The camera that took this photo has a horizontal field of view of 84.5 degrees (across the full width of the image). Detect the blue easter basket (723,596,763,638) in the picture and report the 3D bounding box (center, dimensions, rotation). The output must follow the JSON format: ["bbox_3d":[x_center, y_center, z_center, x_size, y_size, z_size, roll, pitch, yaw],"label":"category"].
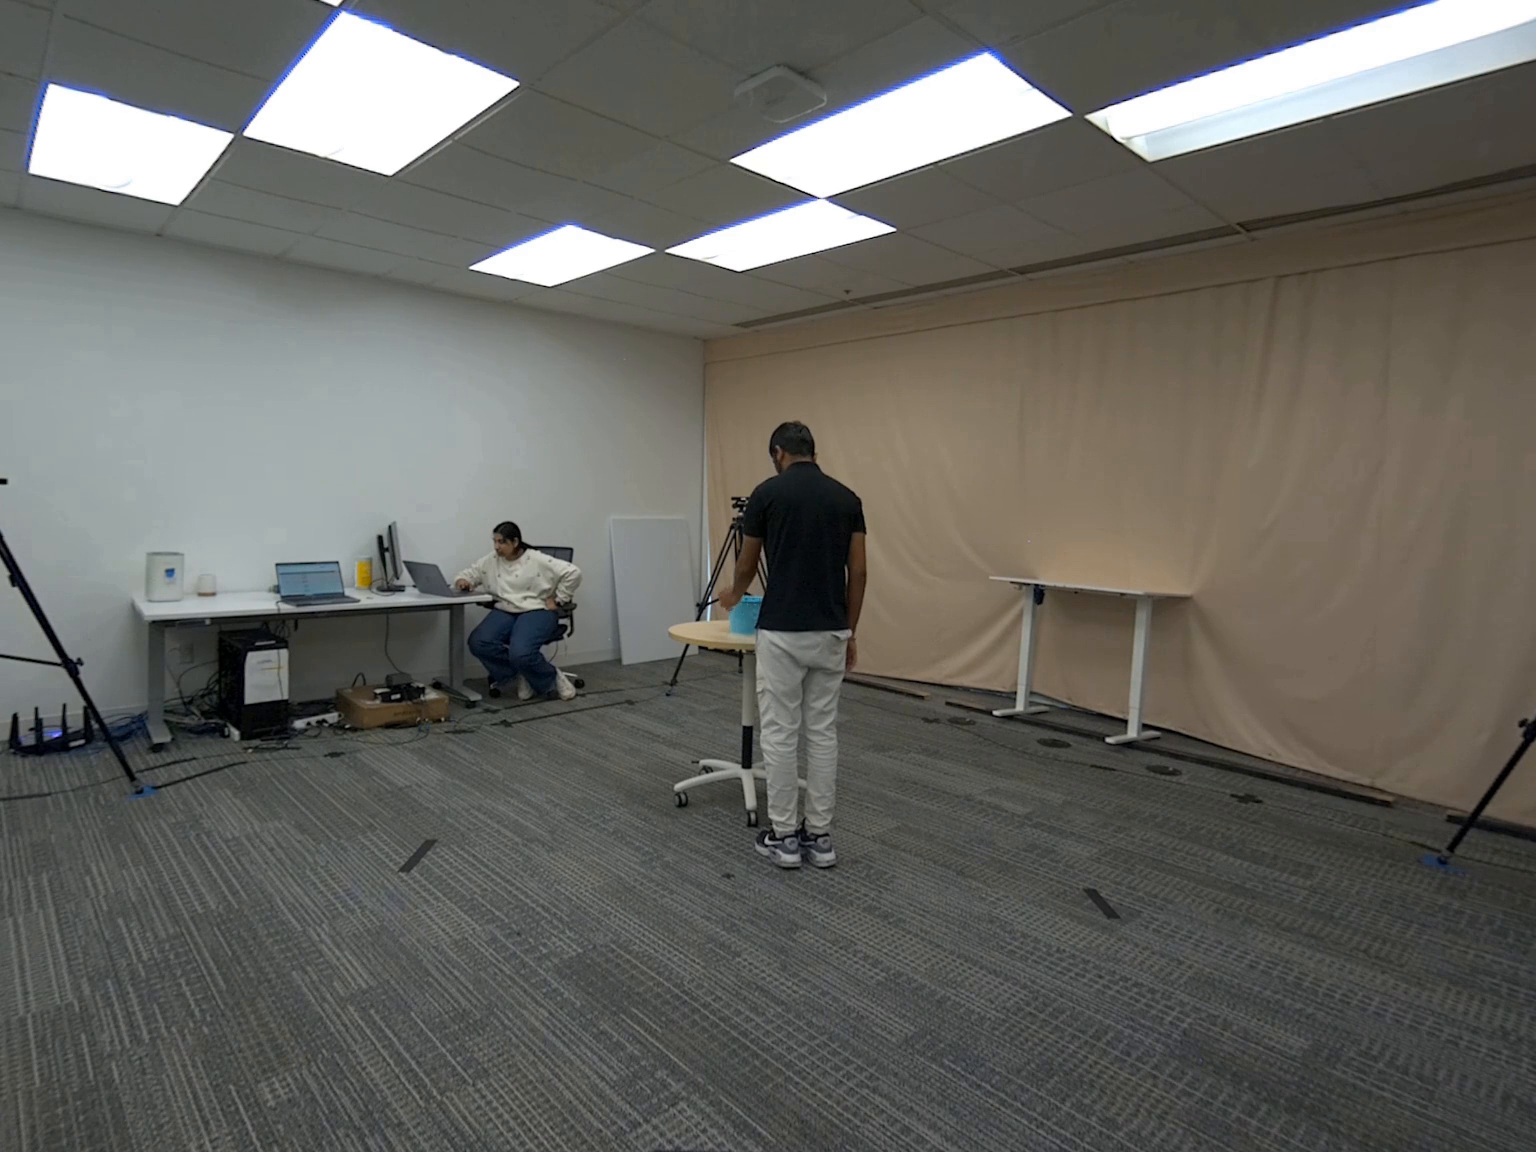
[{"bbox_3d":[-0.082,0.184,3.911,0.243,0.155,0.244,2,4,-1],"label":"blue easter basket"}]
